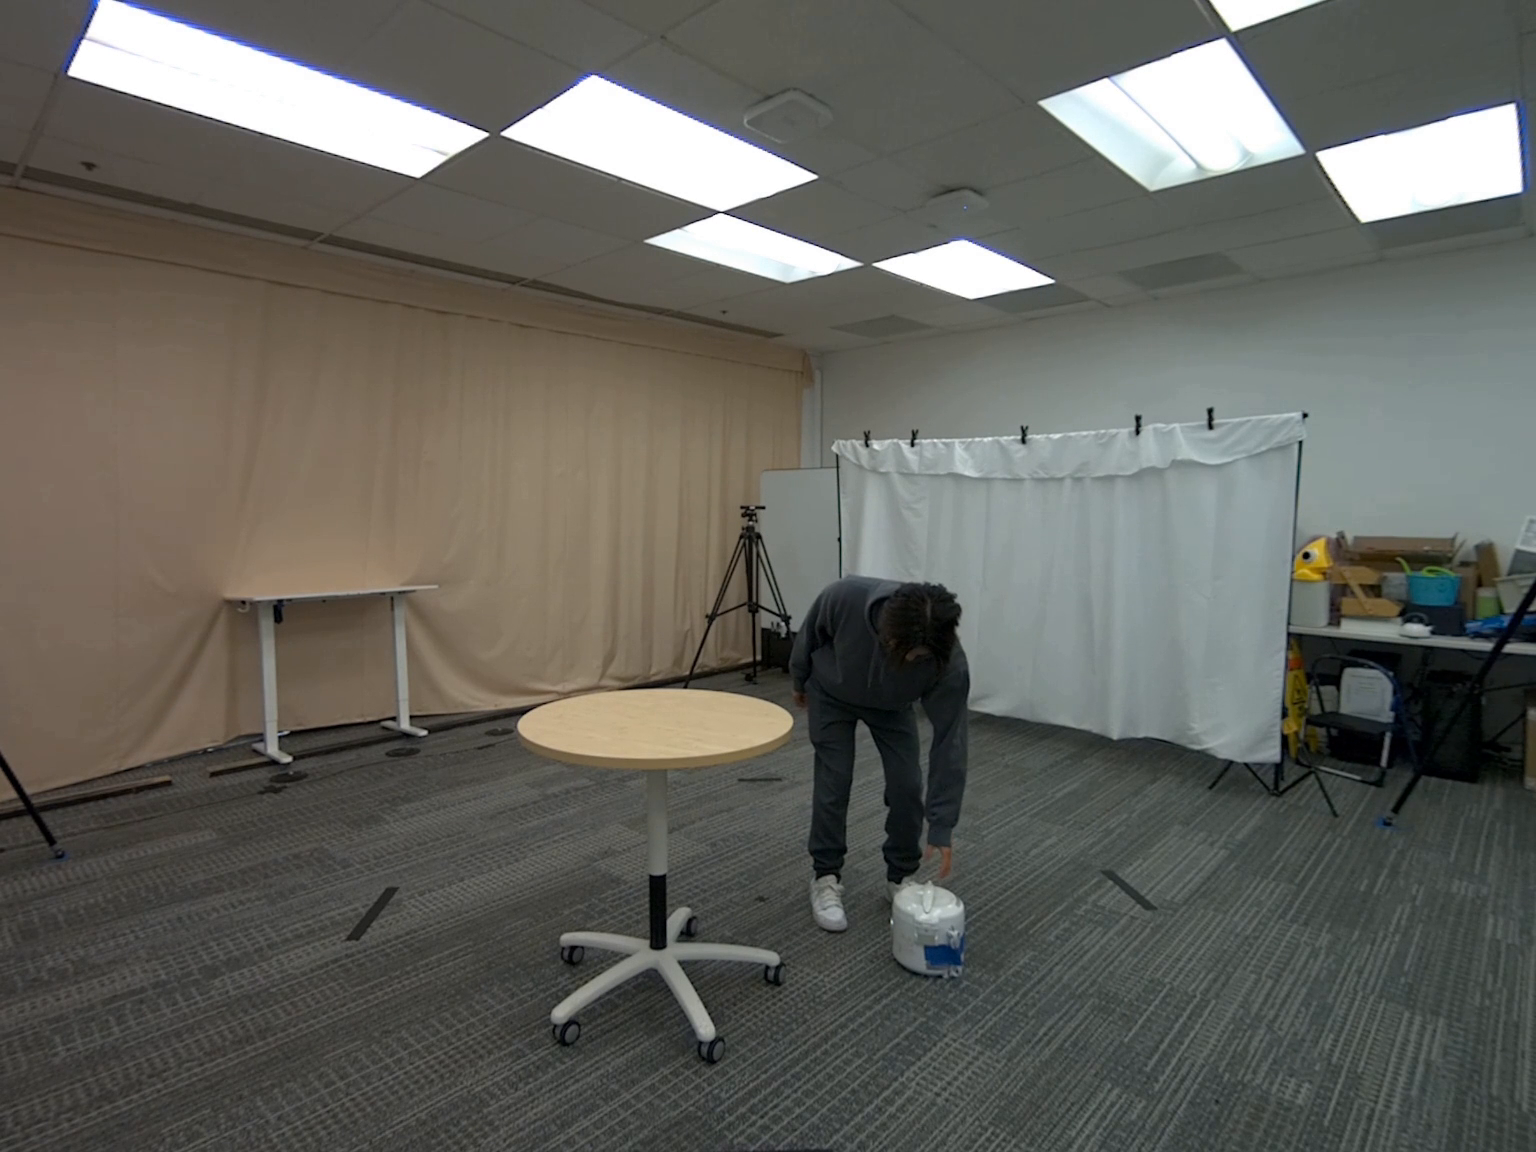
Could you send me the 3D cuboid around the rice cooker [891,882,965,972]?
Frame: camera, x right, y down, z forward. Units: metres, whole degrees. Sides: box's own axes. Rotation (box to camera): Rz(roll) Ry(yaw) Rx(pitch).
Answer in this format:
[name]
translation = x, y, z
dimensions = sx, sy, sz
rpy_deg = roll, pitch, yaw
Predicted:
[rice cooker]
translation = 0.485, 1.058, 2.560
dimensions = 0.221, 0.232, 0.217
rpy_deg = 1, 4, 17
